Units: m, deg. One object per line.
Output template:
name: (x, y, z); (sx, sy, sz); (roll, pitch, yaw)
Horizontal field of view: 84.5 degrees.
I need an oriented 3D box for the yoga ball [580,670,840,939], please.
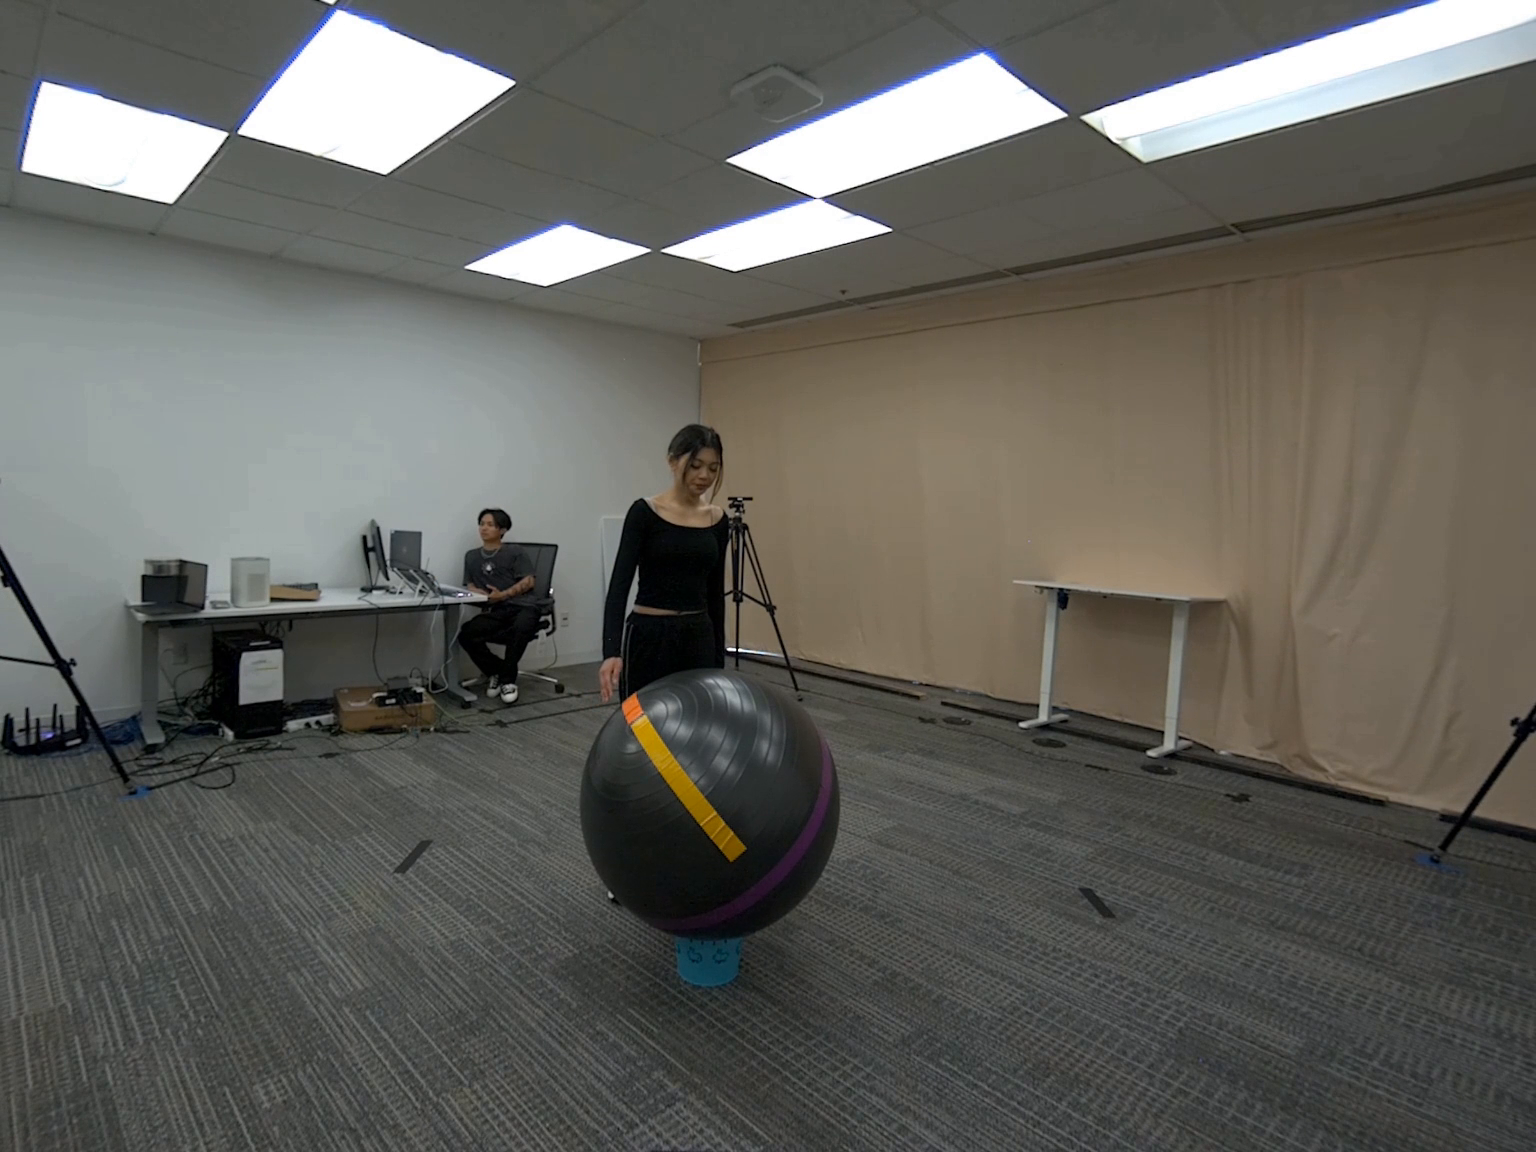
yoga ball: (-0.171, 0.660, 2.452); (0.757, 0.756, 0.761); (1, 4, -1)
